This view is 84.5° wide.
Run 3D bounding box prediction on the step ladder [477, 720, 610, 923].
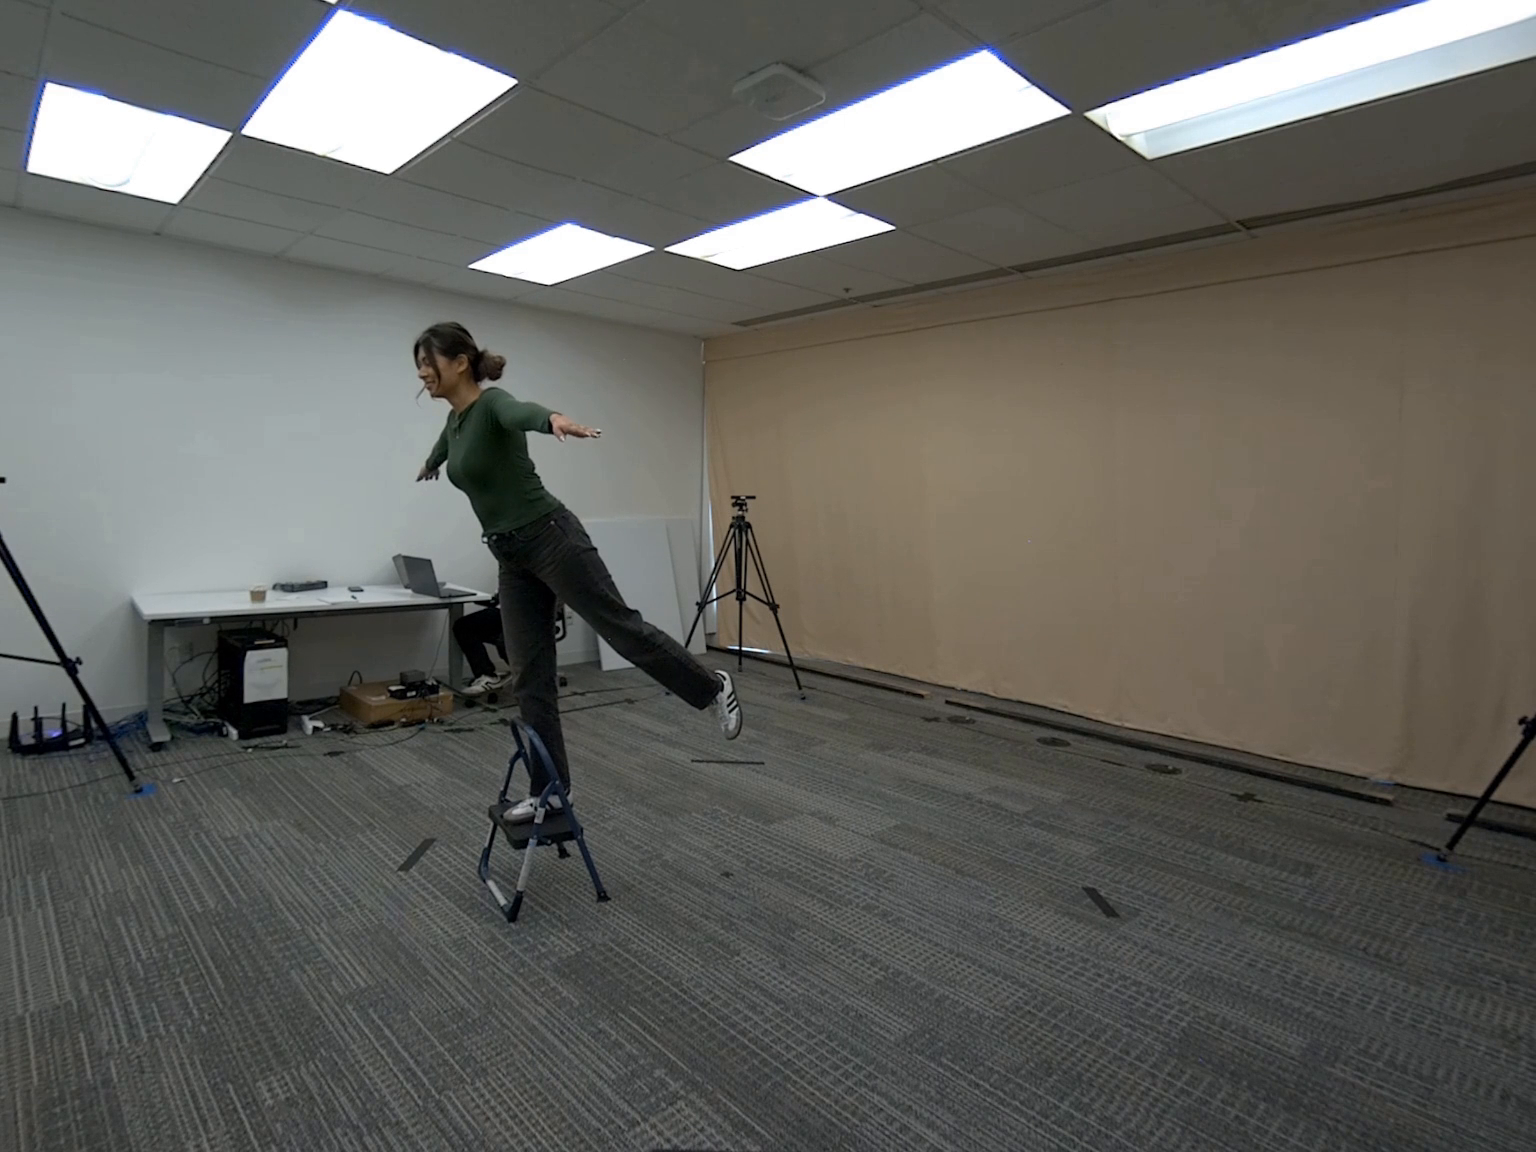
[{"bbox_3d":[-0.802,0.802,2.960,0.342,0.604,0.441,-1,4,-33],"label":"step ladder"}]
